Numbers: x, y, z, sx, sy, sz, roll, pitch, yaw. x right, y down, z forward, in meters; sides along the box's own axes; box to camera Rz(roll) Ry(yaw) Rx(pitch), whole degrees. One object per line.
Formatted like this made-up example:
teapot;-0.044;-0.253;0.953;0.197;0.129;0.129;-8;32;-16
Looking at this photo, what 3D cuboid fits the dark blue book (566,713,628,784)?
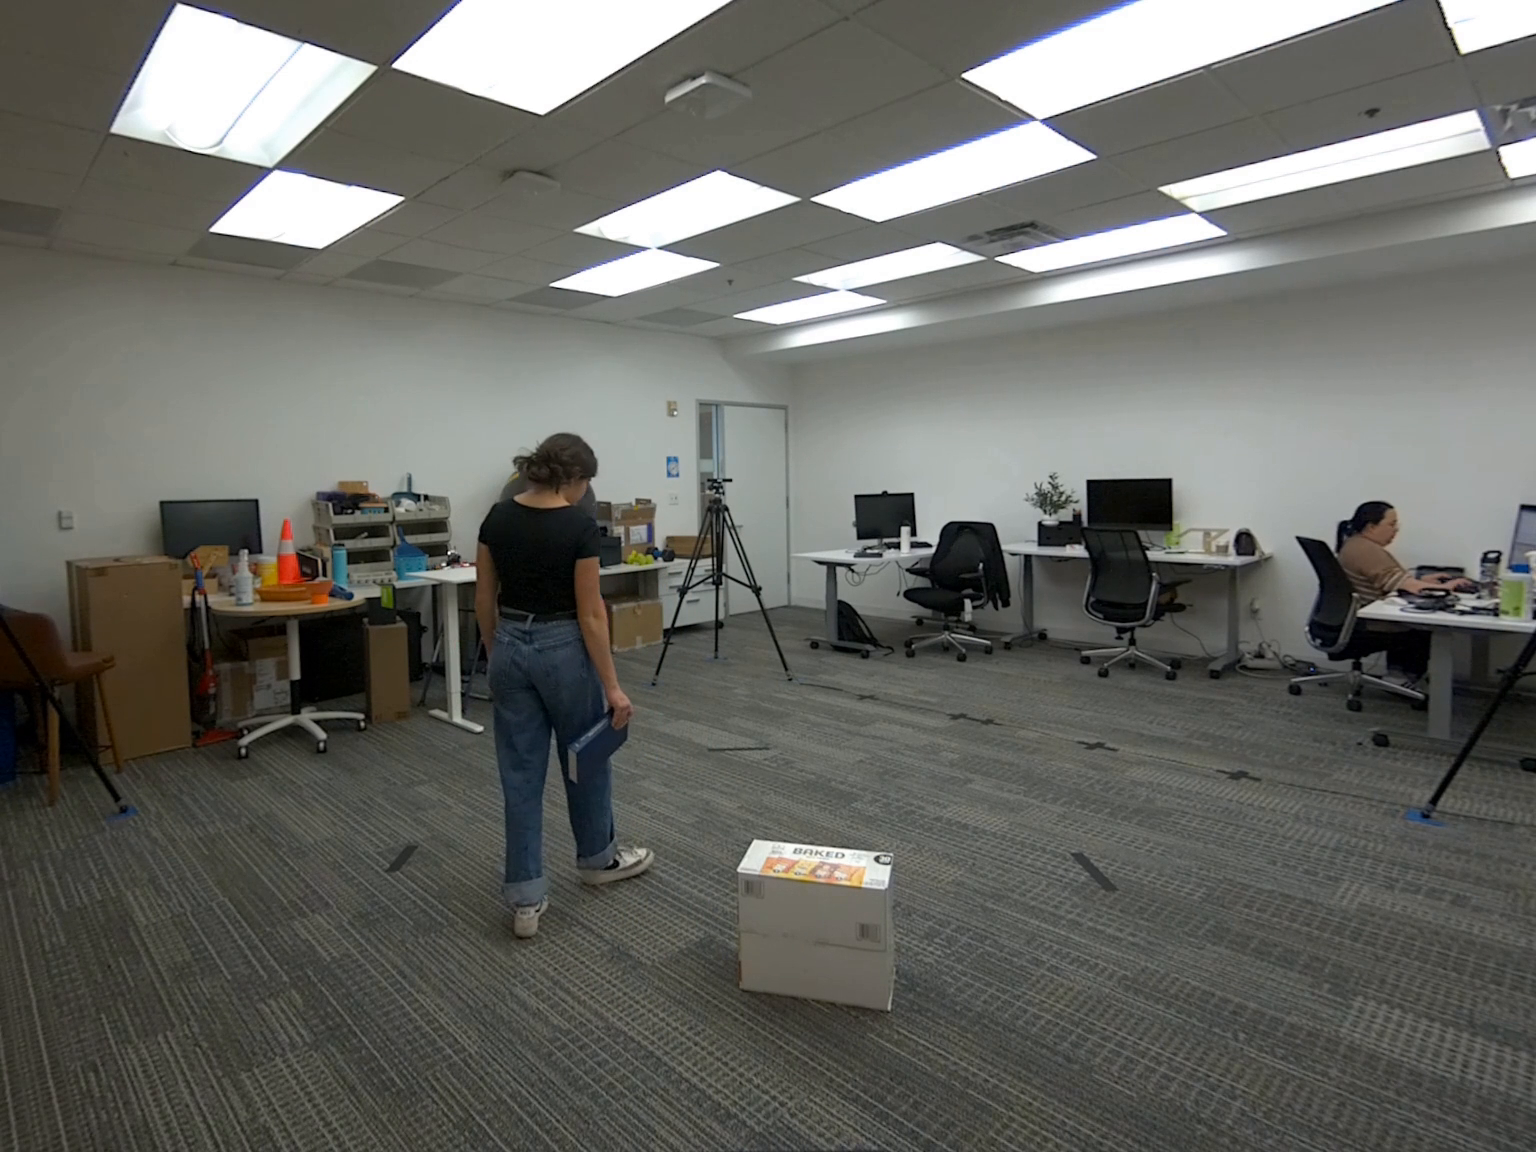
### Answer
dark blue book;-0.536;0.529;2.728;0.046;0.160;0.244;27;43;22
